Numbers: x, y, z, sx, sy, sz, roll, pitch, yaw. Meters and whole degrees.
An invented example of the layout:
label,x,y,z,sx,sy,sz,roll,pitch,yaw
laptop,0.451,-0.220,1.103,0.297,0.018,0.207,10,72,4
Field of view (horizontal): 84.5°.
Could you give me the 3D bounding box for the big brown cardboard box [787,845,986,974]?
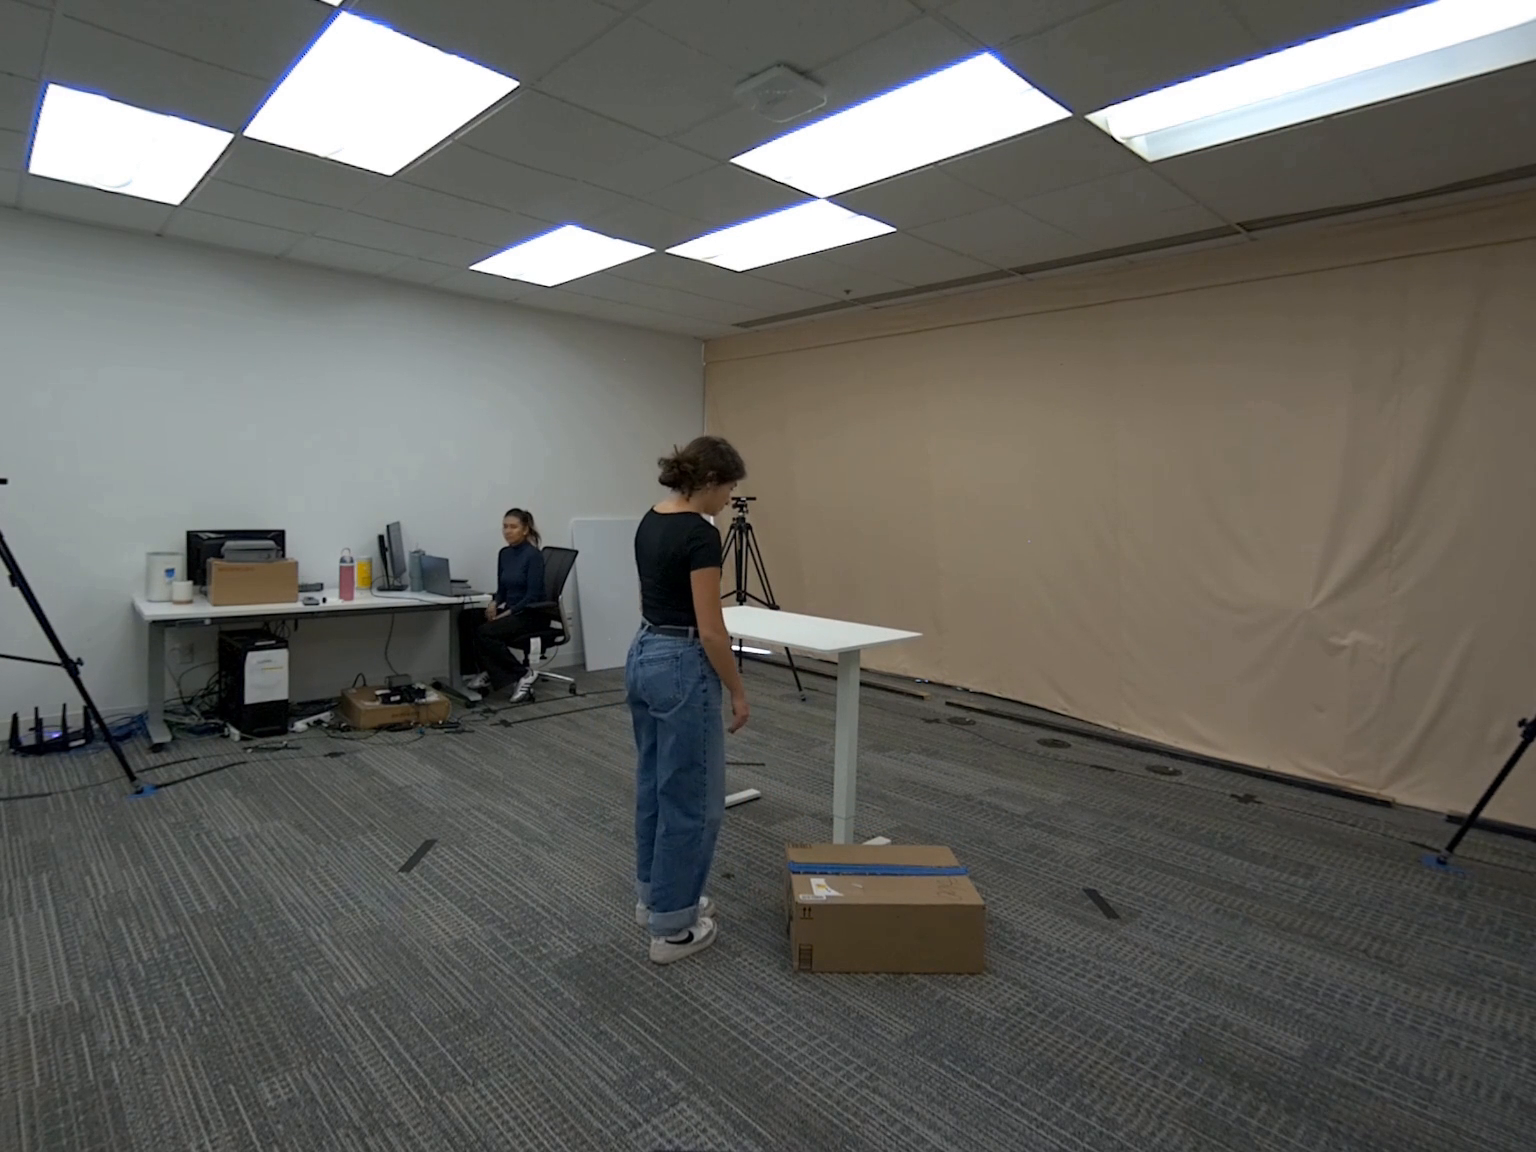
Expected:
label,x,y,z,sx,sy,sz,roll,pitch,yaw
big brown cardboard box,0.338,1.044,2.684,0.588,0.232,0.420,2,5,-3
